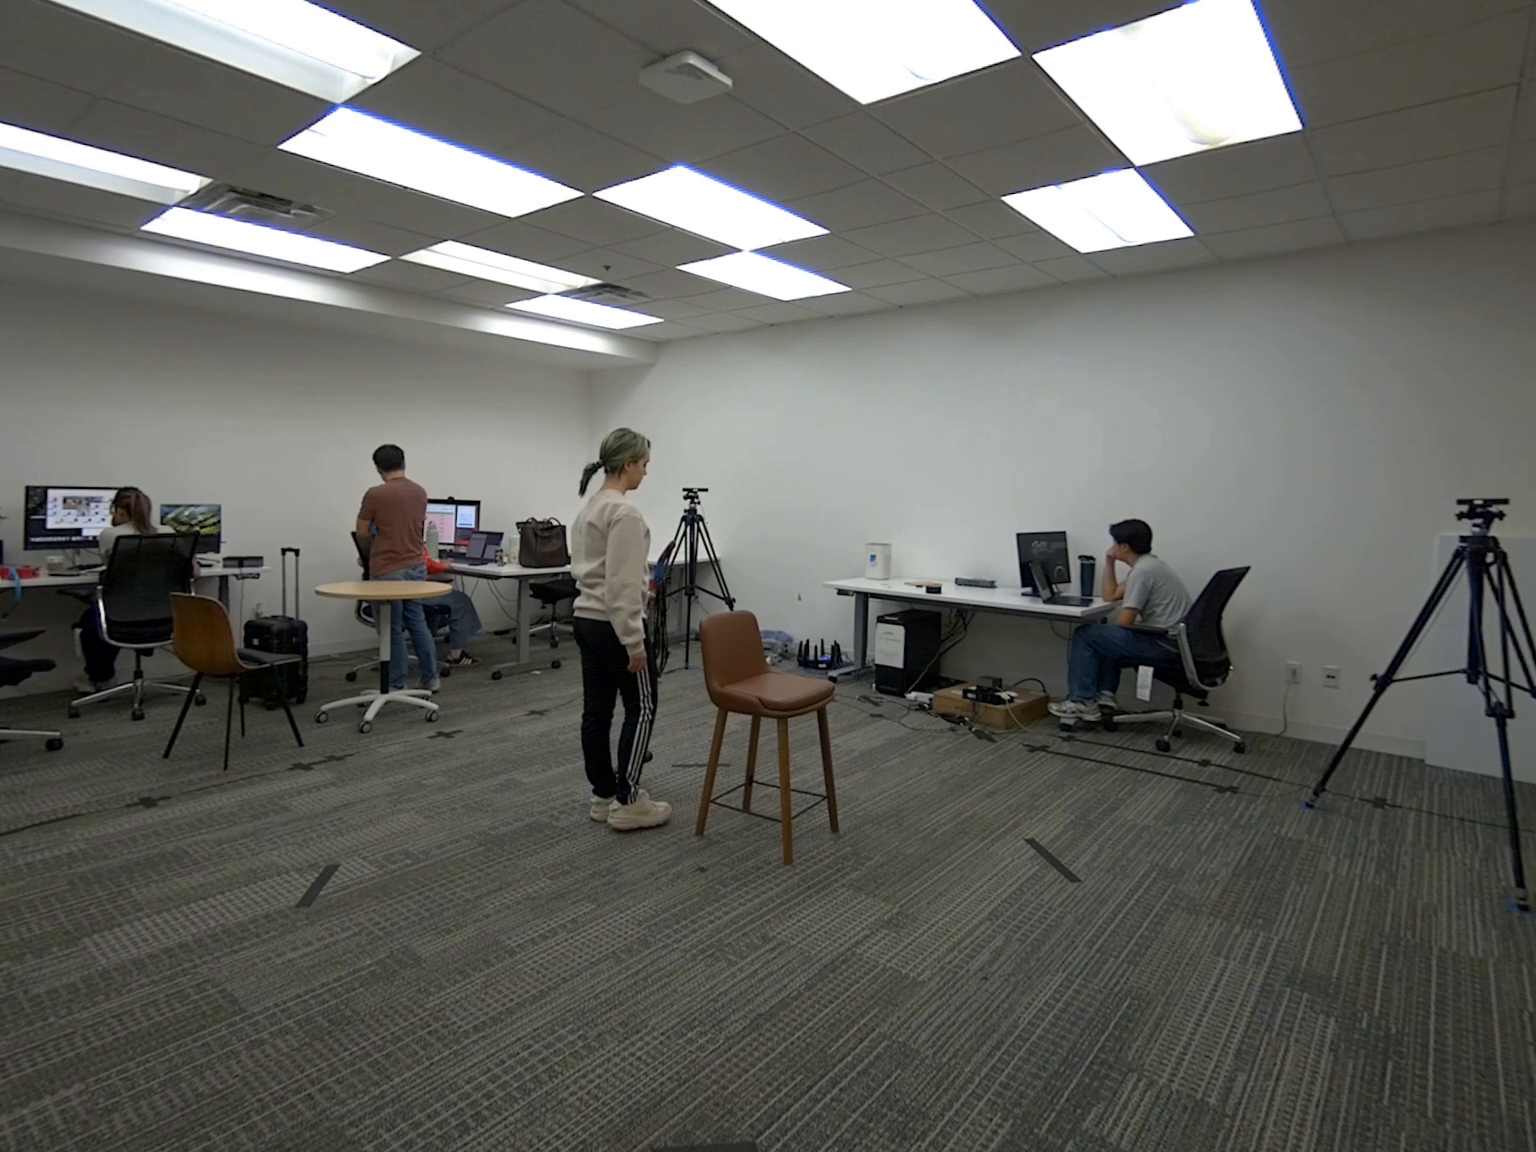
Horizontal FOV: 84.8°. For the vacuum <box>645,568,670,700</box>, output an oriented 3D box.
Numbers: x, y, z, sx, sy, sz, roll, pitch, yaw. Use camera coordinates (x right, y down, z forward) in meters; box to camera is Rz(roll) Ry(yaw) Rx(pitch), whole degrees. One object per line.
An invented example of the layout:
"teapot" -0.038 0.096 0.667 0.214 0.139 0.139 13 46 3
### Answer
"vacuum" -0.540 0.369 3.855 0.148 1.044 0.246 14 8 25
